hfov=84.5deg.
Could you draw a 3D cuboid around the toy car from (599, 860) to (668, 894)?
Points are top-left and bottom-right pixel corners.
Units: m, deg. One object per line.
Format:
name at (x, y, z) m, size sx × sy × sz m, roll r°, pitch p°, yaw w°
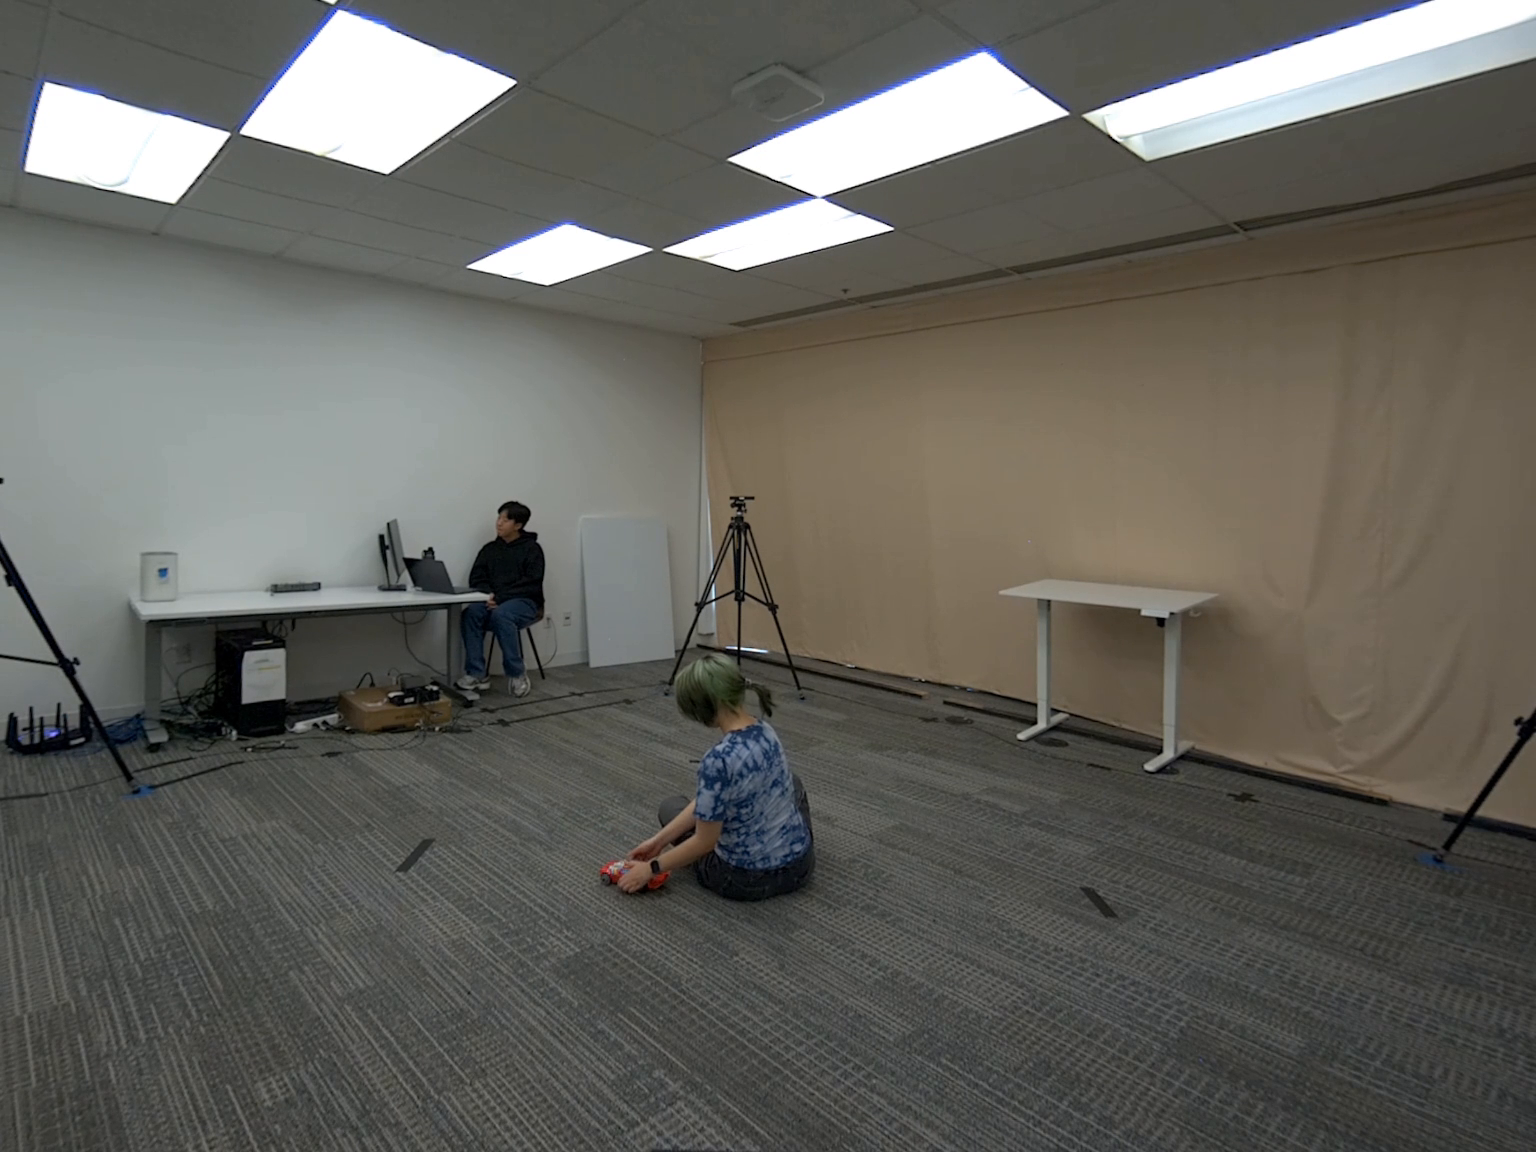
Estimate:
toy car at (-0.481, 1.072, 3.017) m, size 0.258 × 0.083 × 0.128 m, roll -7°, pitch 2°, yaw 23°
